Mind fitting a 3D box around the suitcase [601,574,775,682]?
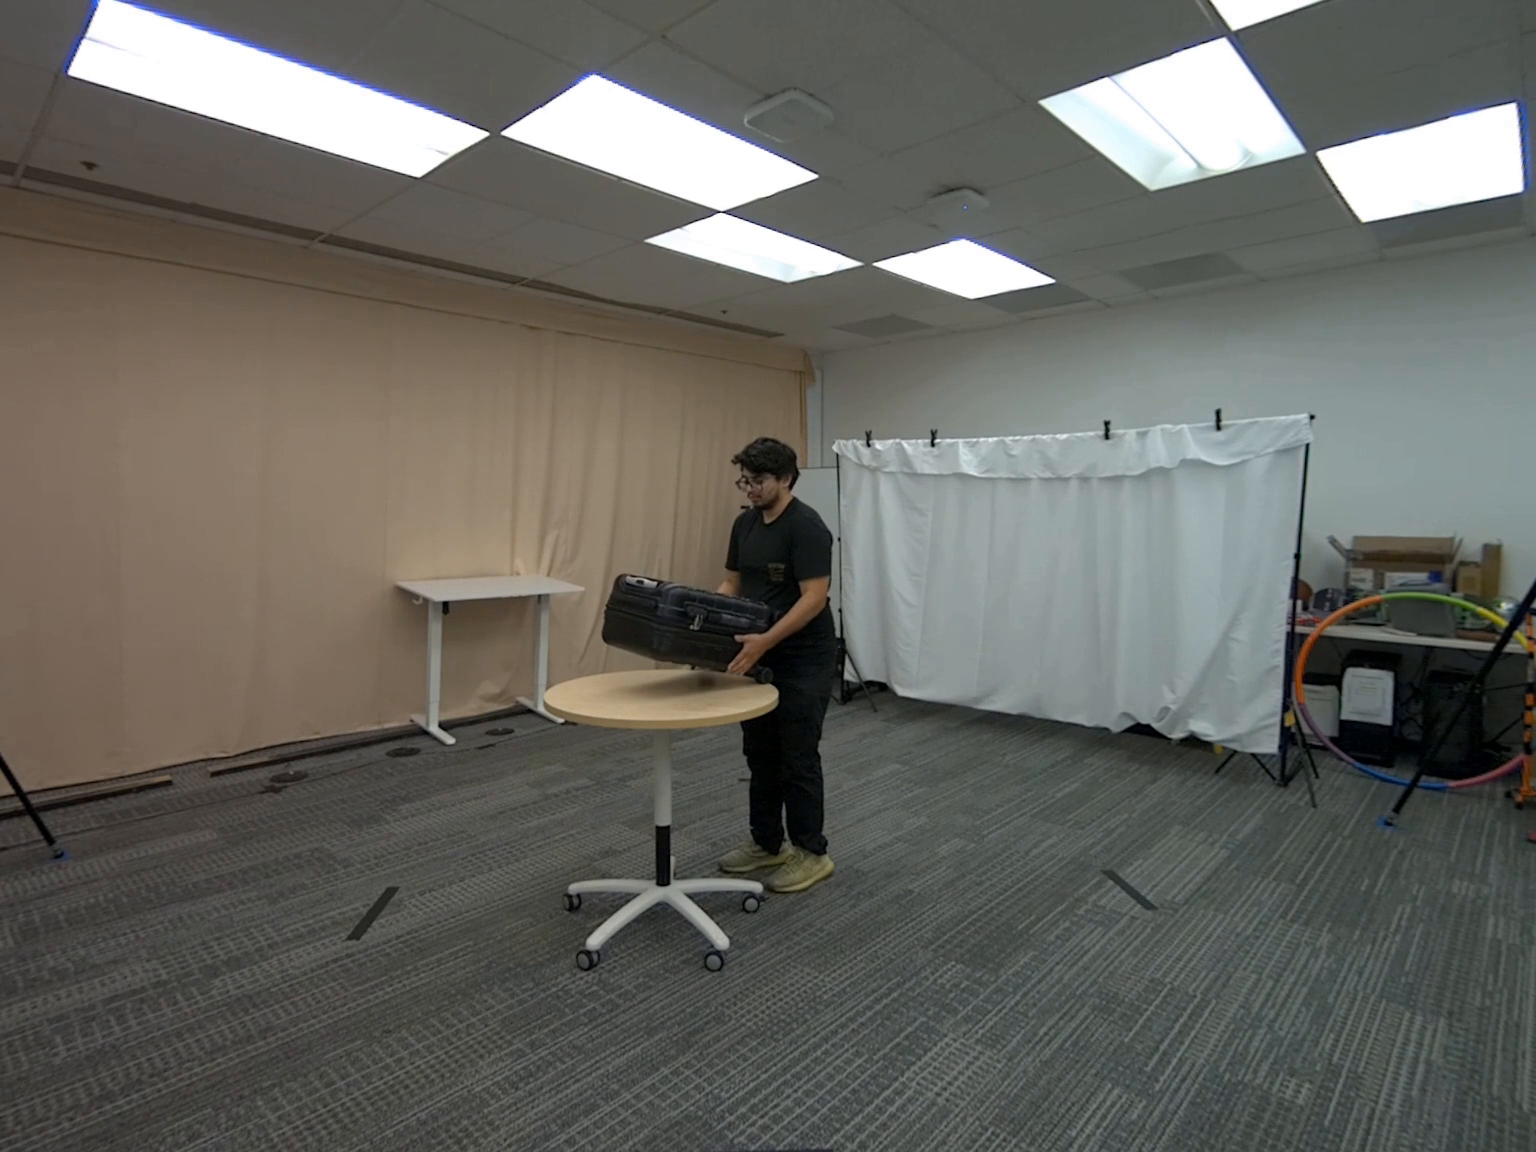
[{"bbox_3d":[-0.266,0.164,2.840,0.389,0.248,0.530,11,-3,45],"label":"suitcase"}]
